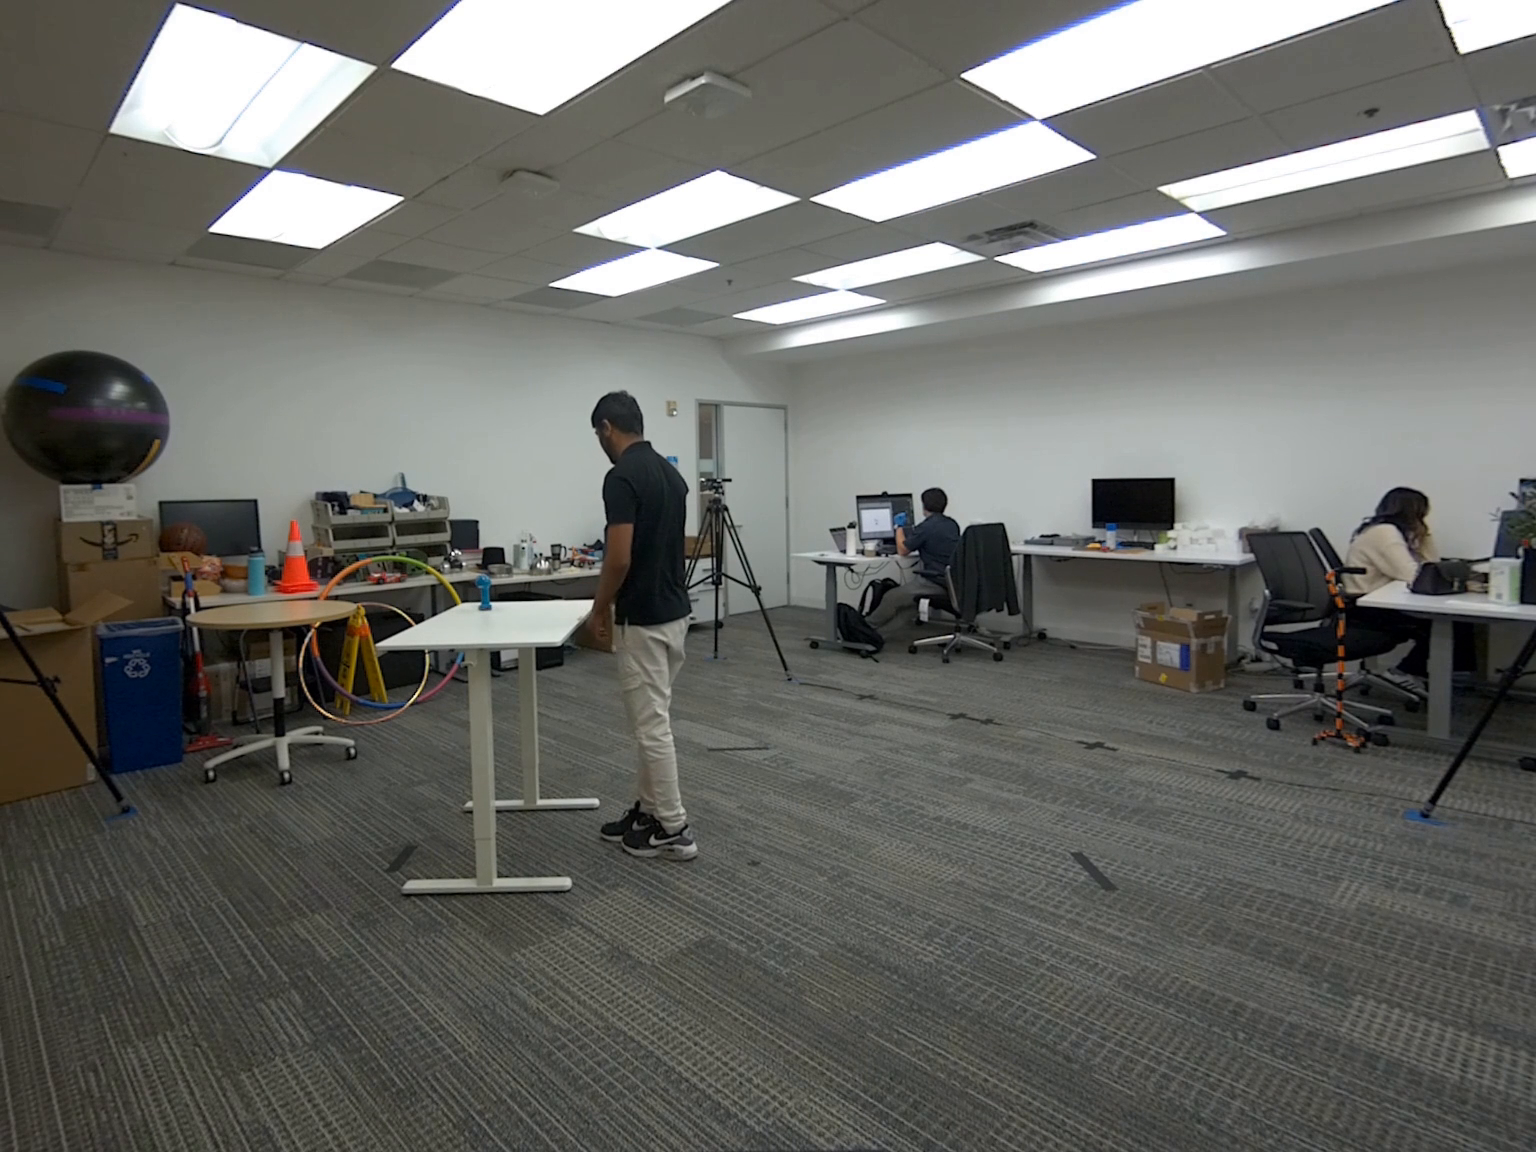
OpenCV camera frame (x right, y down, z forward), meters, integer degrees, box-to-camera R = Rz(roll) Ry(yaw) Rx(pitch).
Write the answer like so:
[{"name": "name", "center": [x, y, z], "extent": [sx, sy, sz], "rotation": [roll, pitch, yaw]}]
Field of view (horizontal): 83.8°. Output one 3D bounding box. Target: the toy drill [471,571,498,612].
[{"name": "toy drill", "center": [-1.182, 0.061, 3.563], "extent": [0.060, 0.145, 0.174], "rotation": [-3, 4, -30]}]
